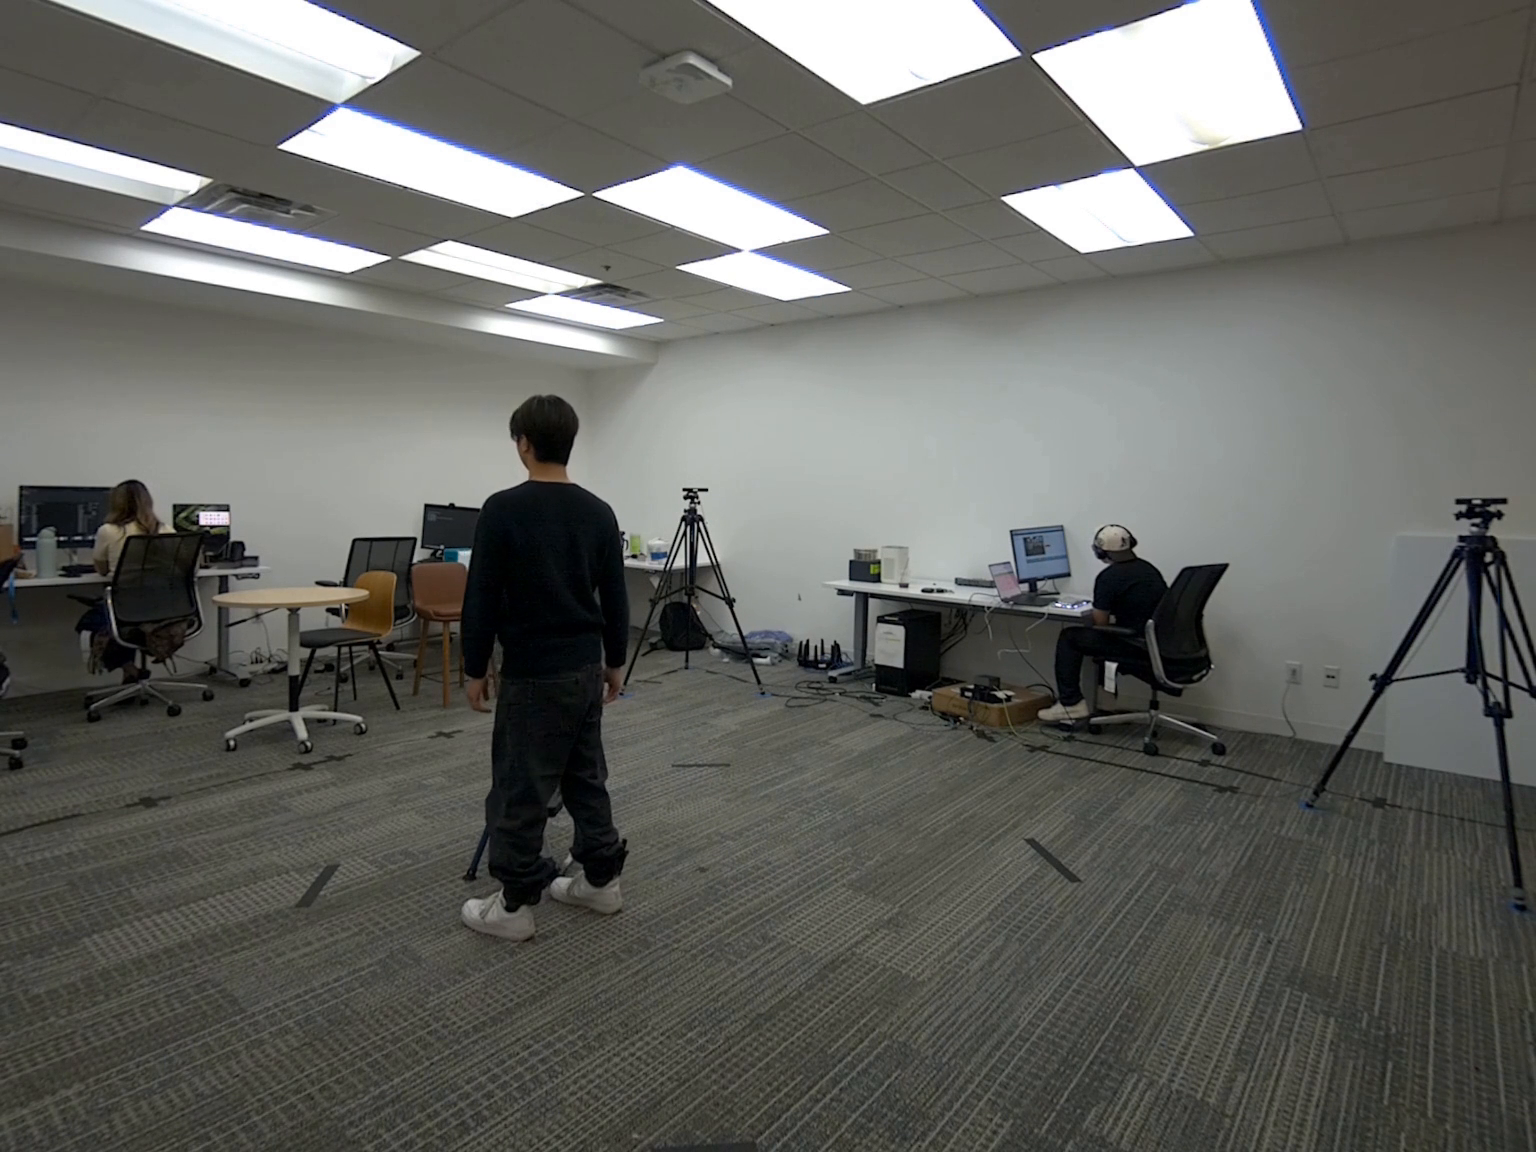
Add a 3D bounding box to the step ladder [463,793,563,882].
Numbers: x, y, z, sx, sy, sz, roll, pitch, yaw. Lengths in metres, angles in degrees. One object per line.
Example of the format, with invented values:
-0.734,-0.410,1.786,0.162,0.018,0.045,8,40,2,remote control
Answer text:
-0.891,0.747,3.164,0.351,0.604,0.430,1,4,3,step ladder
